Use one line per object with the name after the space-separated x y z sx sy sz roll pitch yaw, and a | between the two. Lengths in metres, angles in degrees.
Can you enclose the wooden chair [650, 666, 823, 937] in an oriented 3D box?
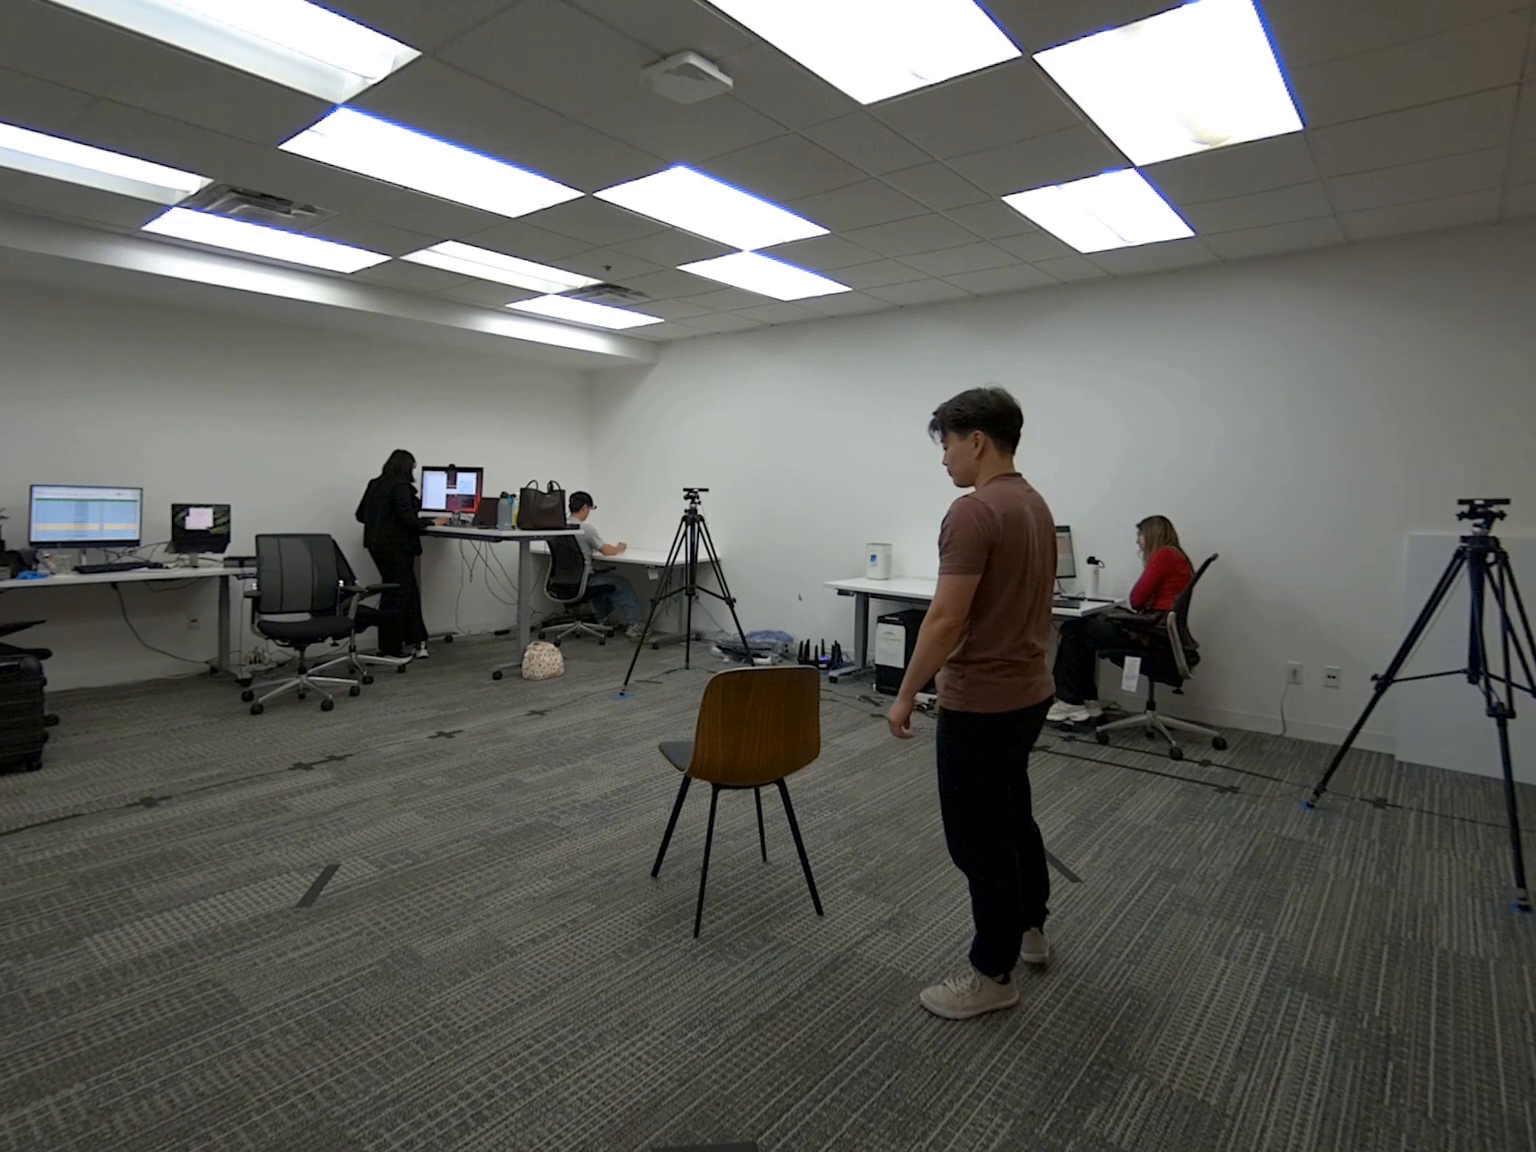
-0.118 0.667 2.891 0.467 0.872 0.538 0 8 -24 | wooden chair
